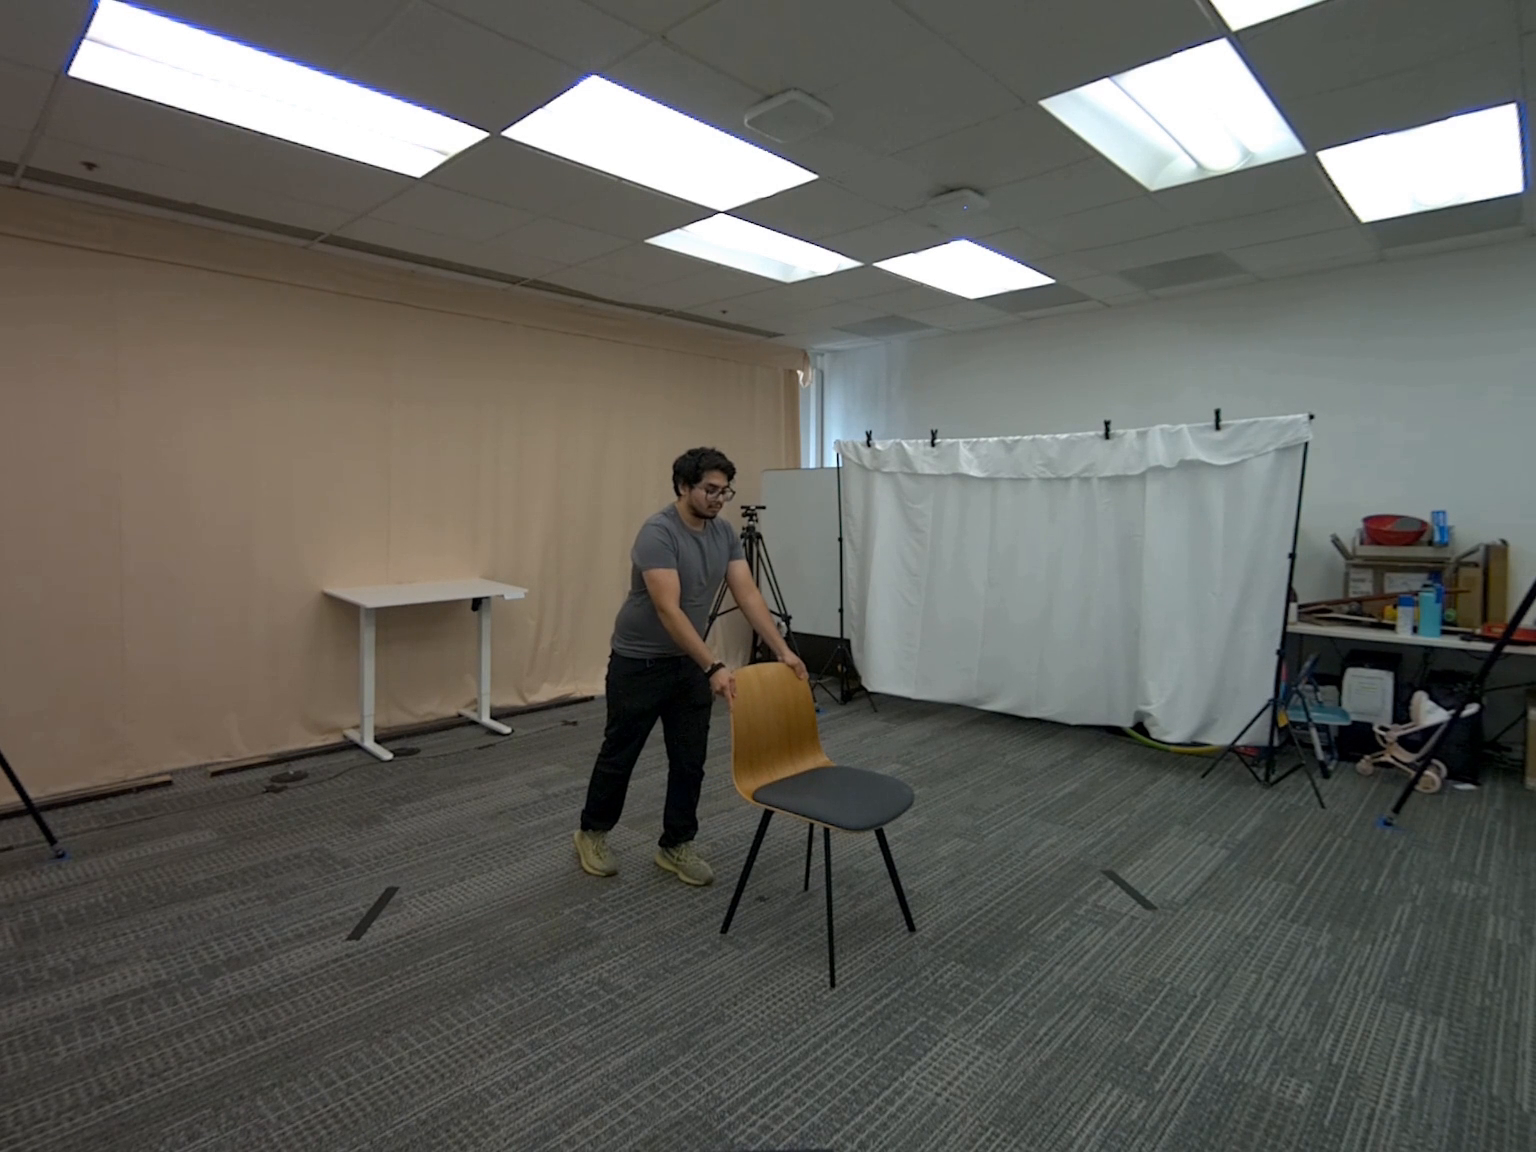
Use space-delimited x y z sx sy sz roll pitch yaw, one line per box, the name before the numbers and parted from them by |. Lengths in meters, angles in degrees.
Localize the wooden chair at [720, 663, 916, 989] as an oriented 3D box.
wooden chair | 0.171 0.735 2.713 0.539 0.877 0.463 -4 0 43
